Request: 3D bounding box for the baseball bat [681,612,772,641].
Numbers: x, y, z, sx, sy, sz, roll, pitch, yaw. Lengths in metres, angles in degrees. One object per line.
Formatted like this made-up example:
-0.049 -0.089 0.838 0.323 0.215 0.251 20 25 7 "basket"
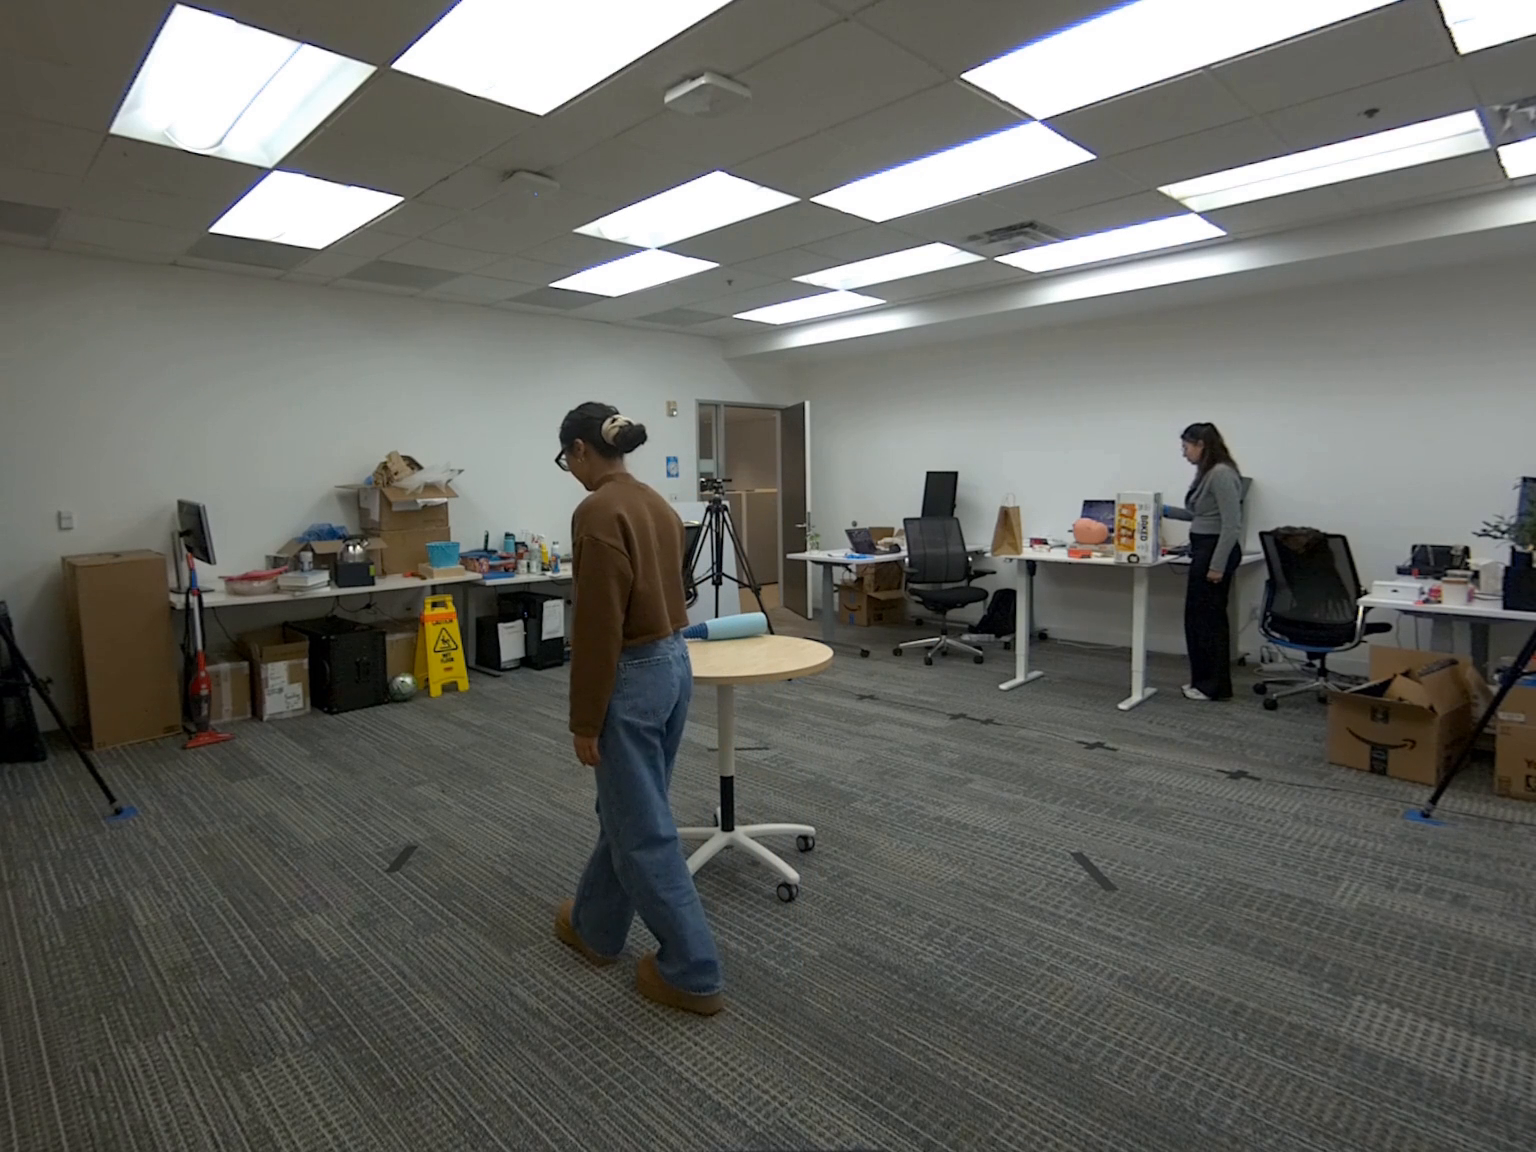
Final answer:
-0.264 0.216 3.261 0.534 0.088 0.091 -7 7 -21 "baseball bat"
